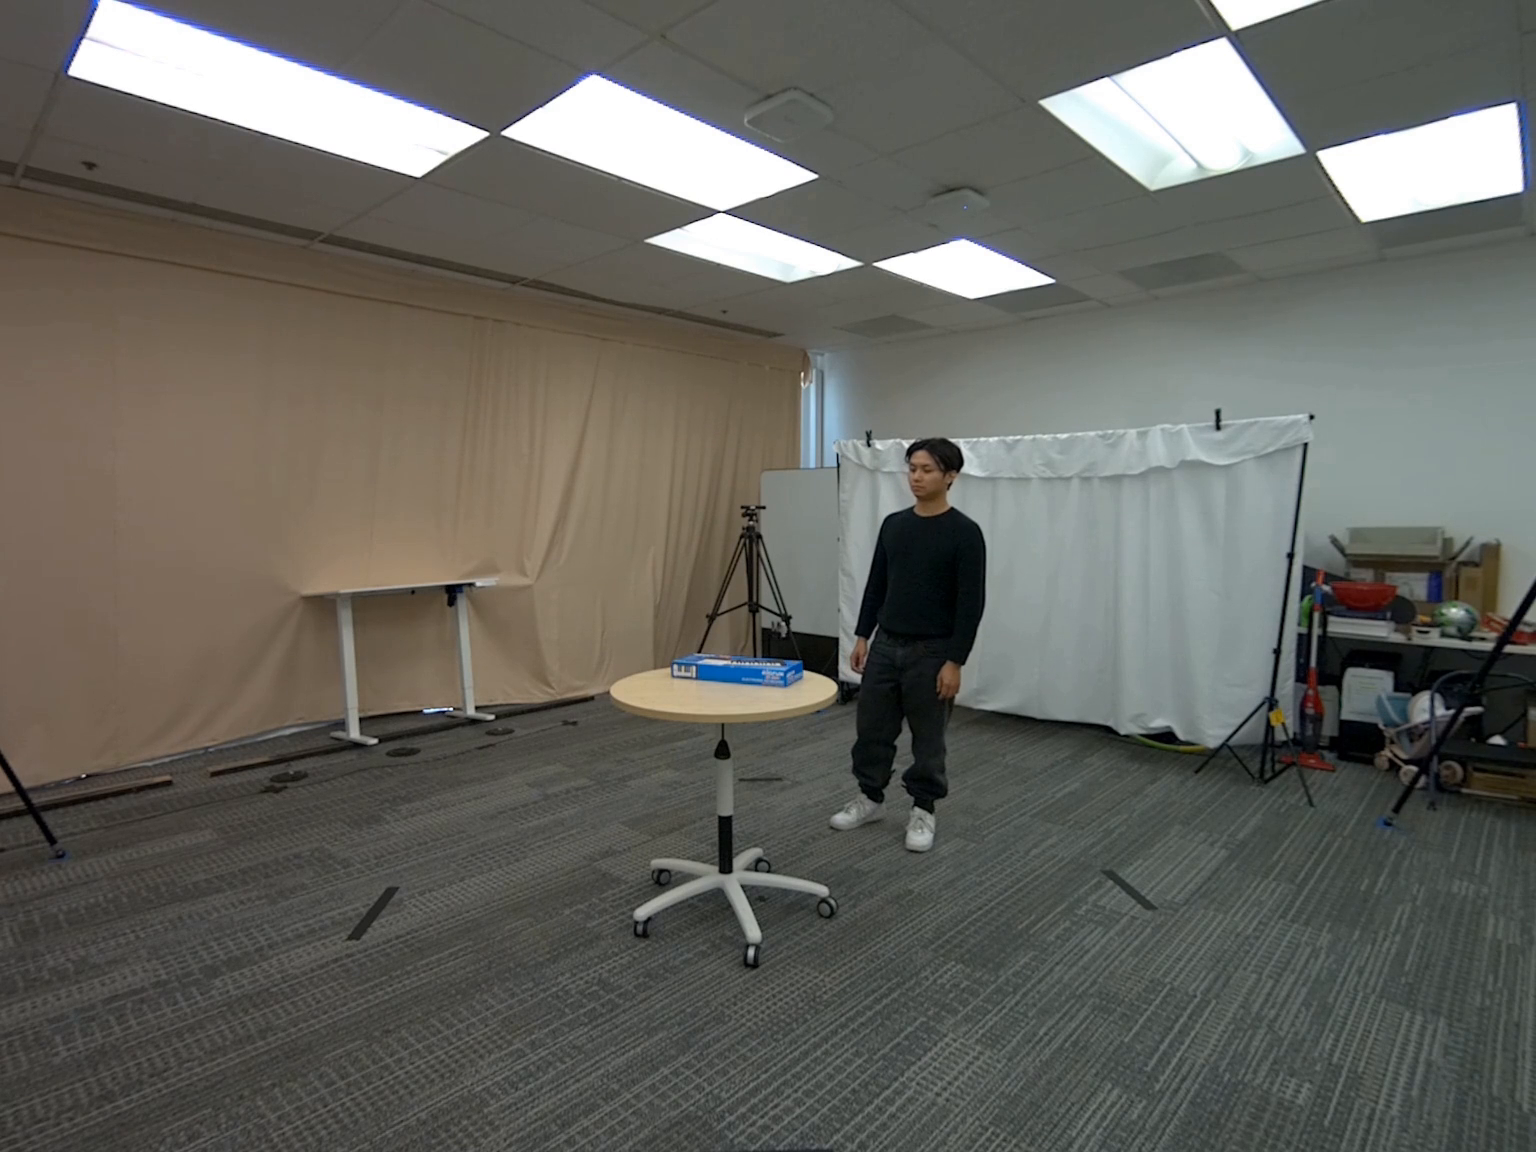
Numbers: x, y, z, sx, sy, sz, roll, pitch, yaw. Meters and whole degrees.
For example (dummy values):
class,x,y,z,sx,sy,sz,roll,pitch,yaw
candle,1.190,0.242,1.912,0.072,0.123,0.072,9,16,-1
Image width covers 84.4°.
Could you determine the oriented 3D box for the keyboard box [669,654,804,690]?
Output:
class,x,y,z,sx,sy,sz,roll,pitch,yaw
keyboard box,-0.113,0.332,2.972,0.448,0.059,0.172,2,5,25
